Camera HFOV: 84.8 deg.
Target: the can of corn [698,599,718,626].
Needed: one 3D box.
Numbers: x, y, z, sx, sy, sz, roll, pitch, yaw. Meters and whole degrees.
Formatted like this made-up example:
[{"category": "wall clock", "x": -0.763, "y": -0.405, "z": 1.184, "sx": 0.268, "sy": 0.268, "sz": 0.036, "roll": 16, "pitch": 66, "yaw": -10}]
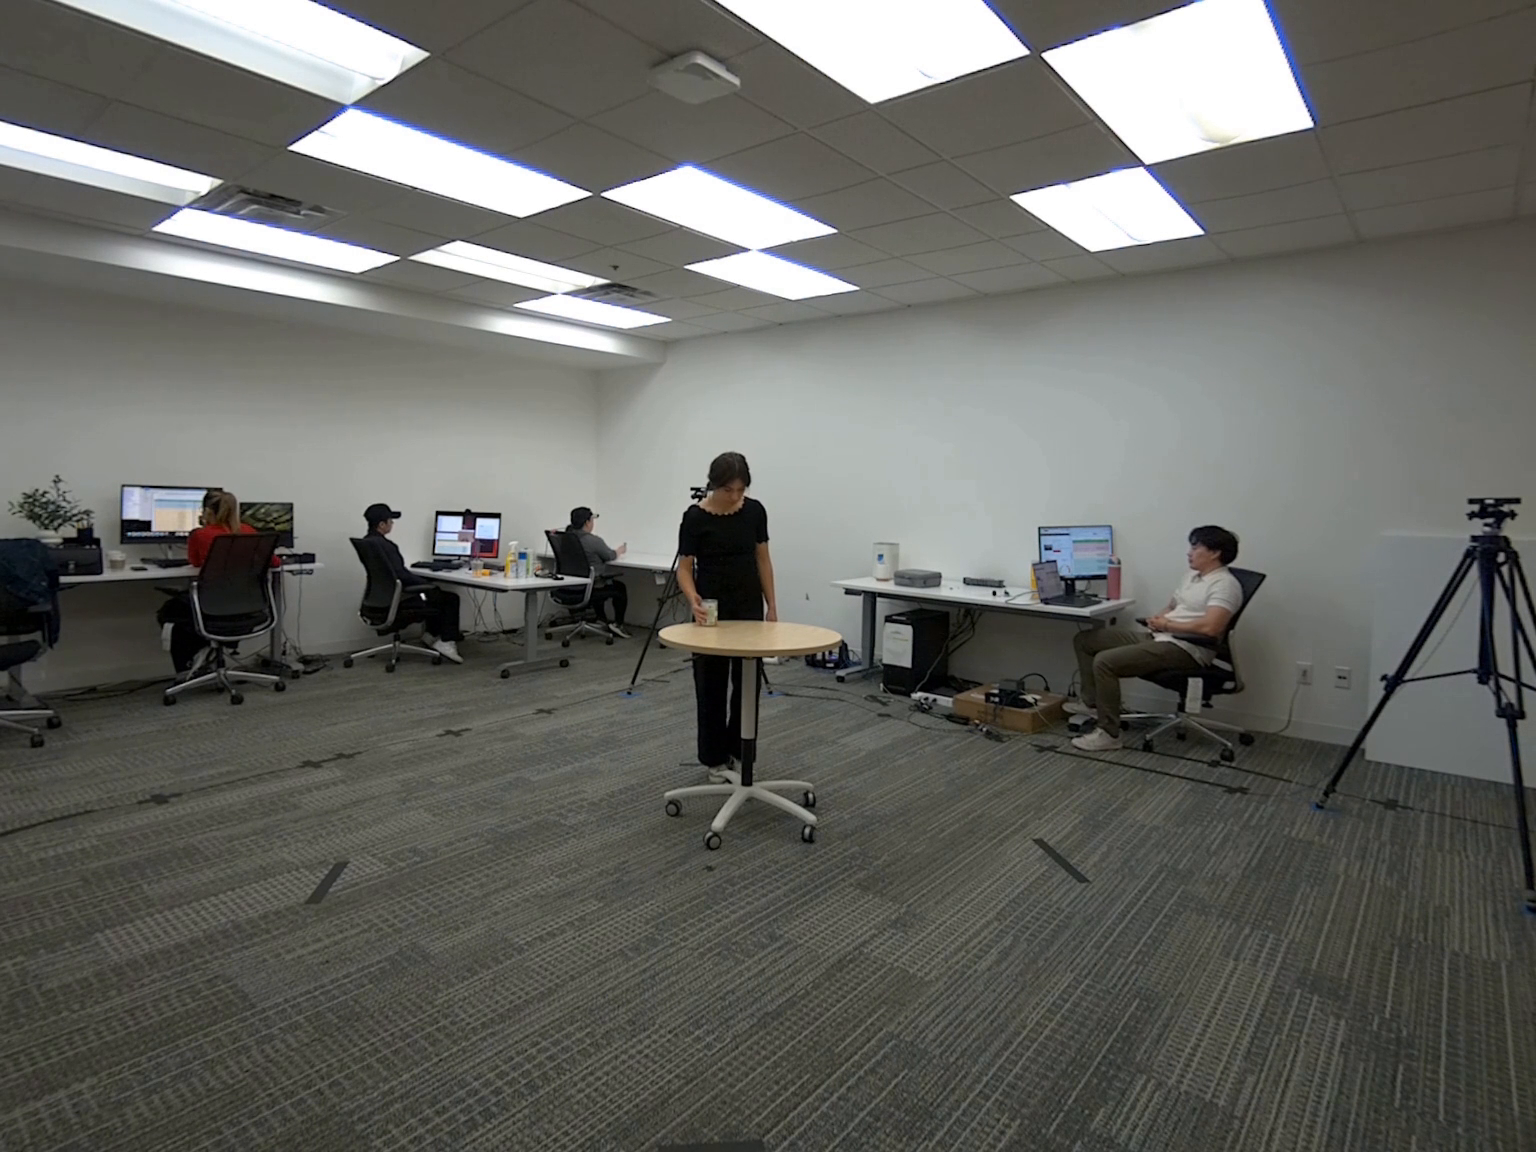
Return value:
[{"category": "can of corn", "x": -0.273, "y": 0.162, "z": 3.780, "sx": 0.074, "sy": 0.111, "sz": 0.074, "roll": 4, "pitch": 1, "yaw": -2}]
